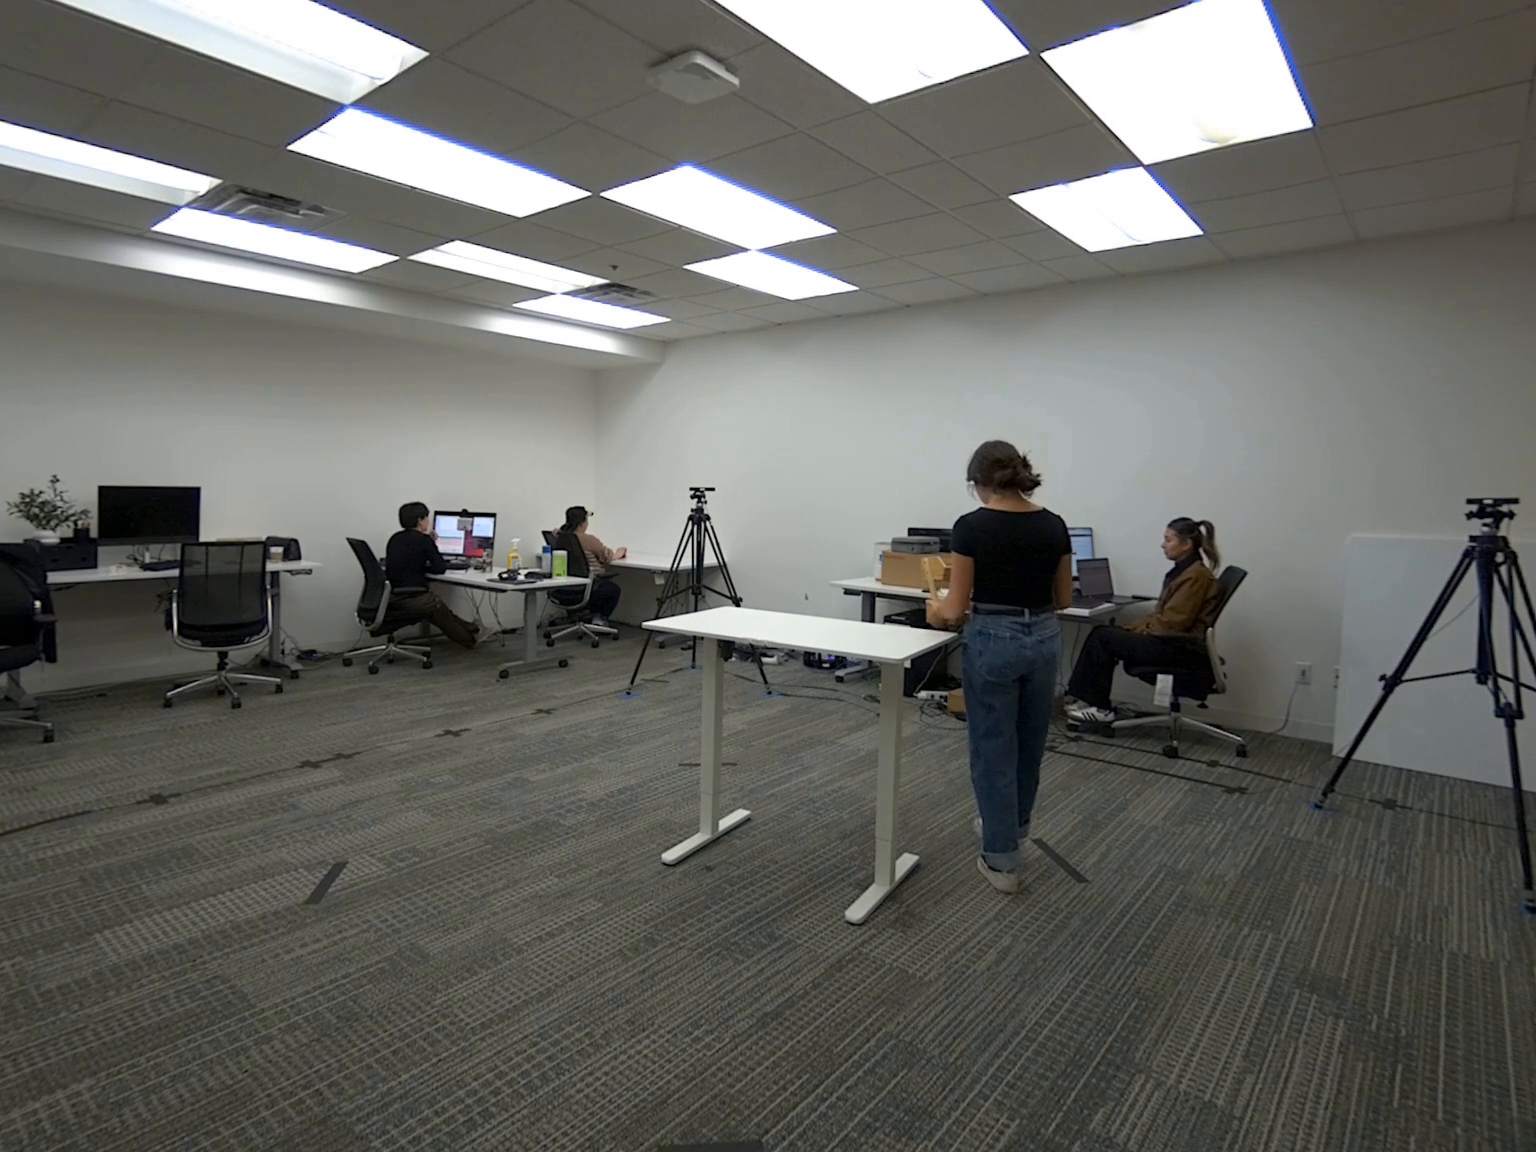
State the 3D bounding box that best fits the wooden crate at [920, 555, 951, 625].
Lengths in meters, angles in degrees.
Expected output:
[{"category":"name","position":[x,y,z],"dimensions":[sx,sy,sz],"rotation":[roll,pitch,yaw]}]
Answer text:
[{"category":"wooden crate","position":[0.803,0.048,3.336],"dimensions":[0.319,0.274,0.305],"rotation":[2,-4,-15]}]
